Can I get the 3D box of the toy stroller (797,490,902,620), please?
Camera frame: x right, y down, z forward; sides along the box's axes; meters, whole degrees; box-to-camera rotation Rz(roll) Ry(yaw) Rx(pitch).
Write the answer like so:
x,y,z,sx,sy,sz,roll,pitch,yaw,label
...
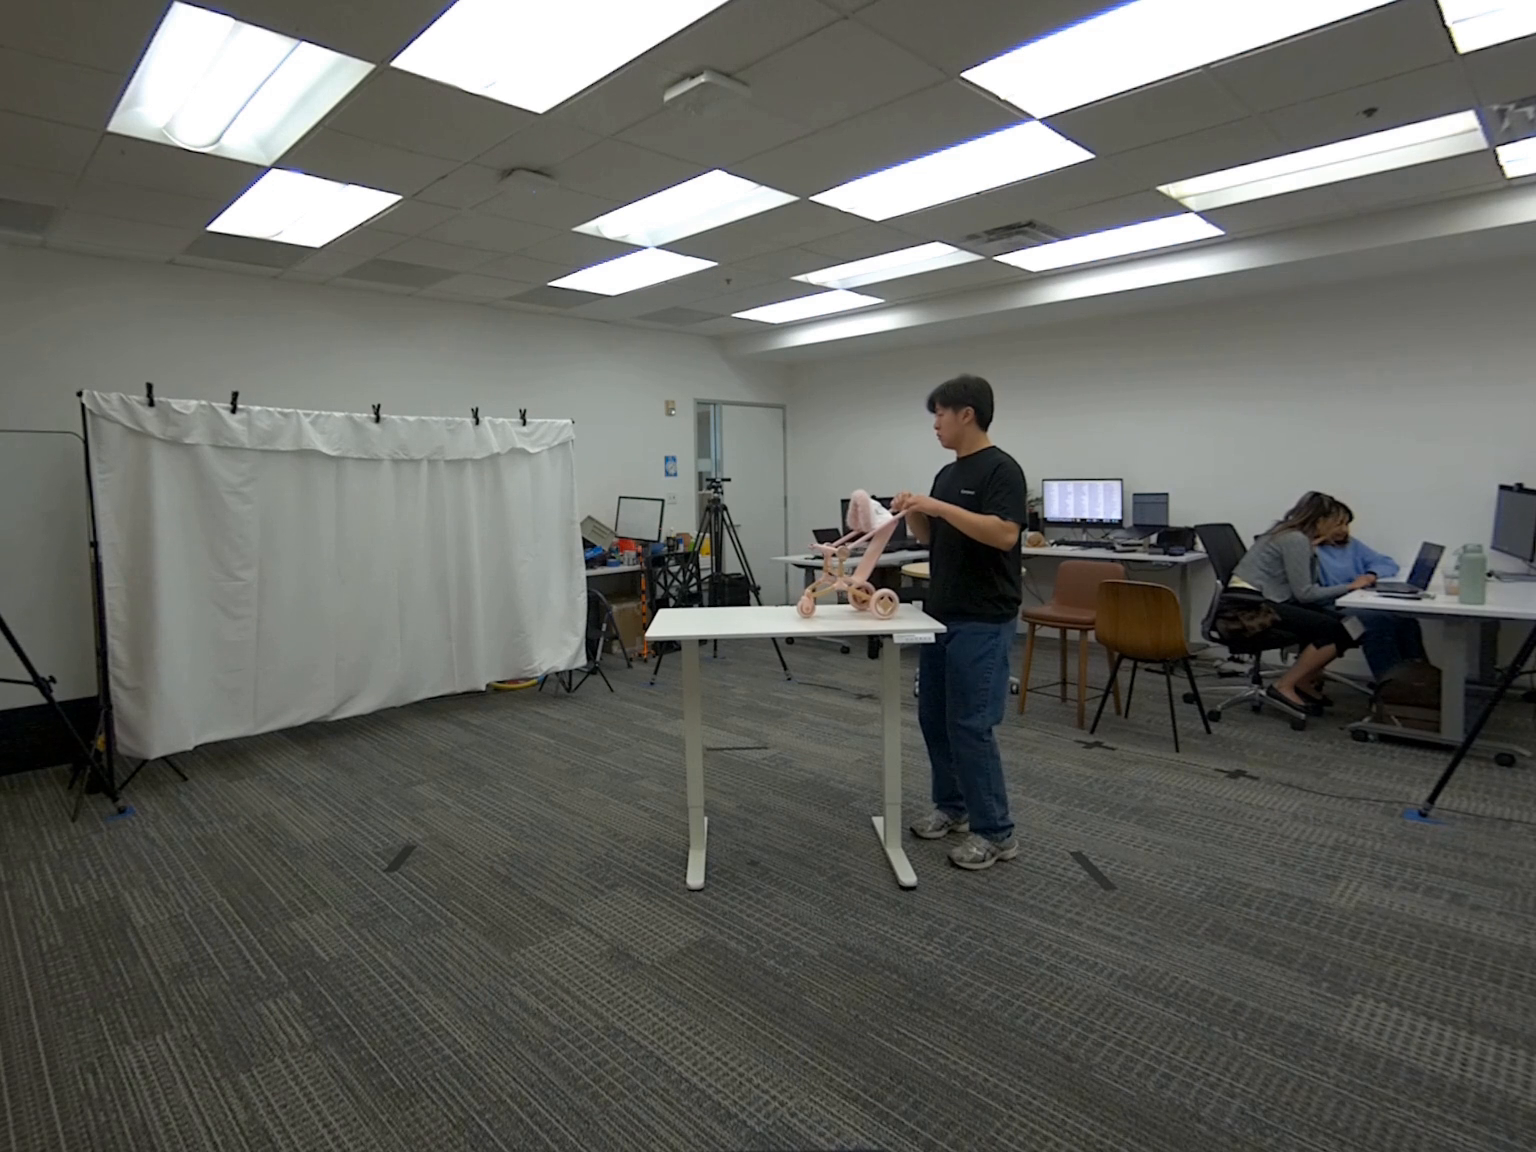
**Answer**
x,y,z,sx,sy,sz,roll,pitch,yaw,label
0.322,-0.078,3.134,0.339,0.534,0.284,14,2,-7,toy stroller
